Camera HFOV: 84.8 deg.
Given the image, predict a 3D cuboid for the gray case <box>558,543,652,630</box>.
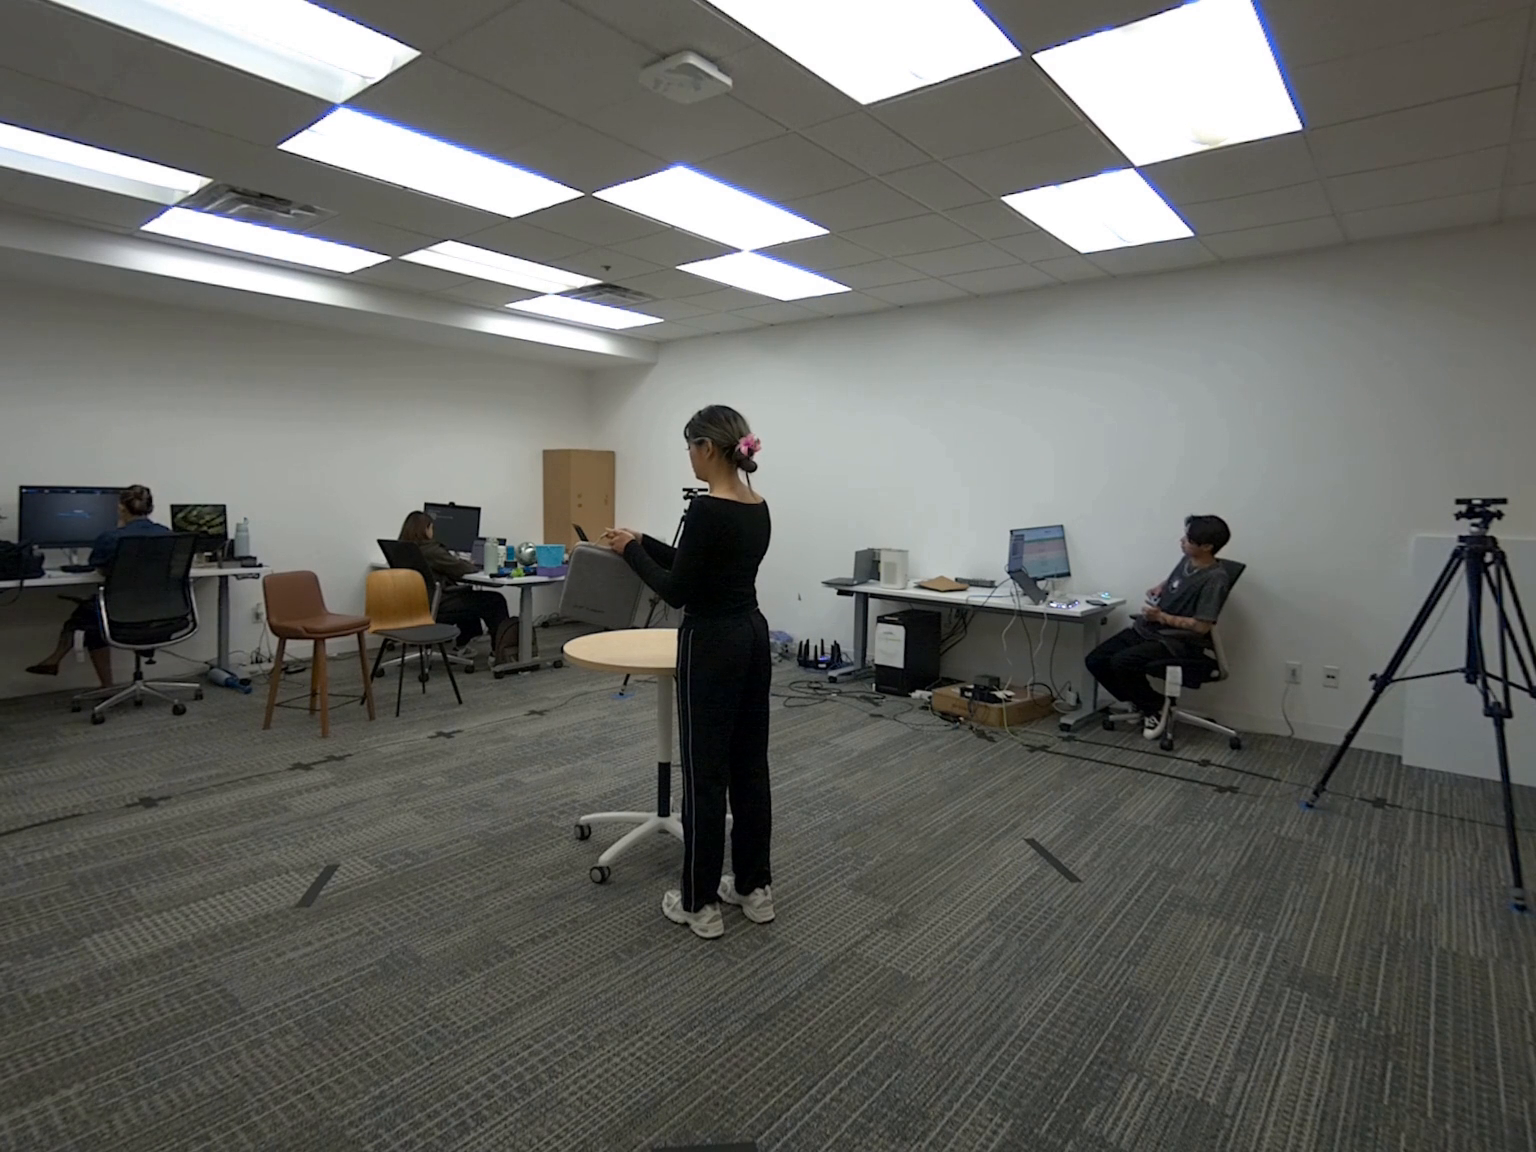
[{"bbox_3d":[-0.565,0.031,2.828,0.253,0.259,0.106,14,9,-12],"label":"gray case"}]
